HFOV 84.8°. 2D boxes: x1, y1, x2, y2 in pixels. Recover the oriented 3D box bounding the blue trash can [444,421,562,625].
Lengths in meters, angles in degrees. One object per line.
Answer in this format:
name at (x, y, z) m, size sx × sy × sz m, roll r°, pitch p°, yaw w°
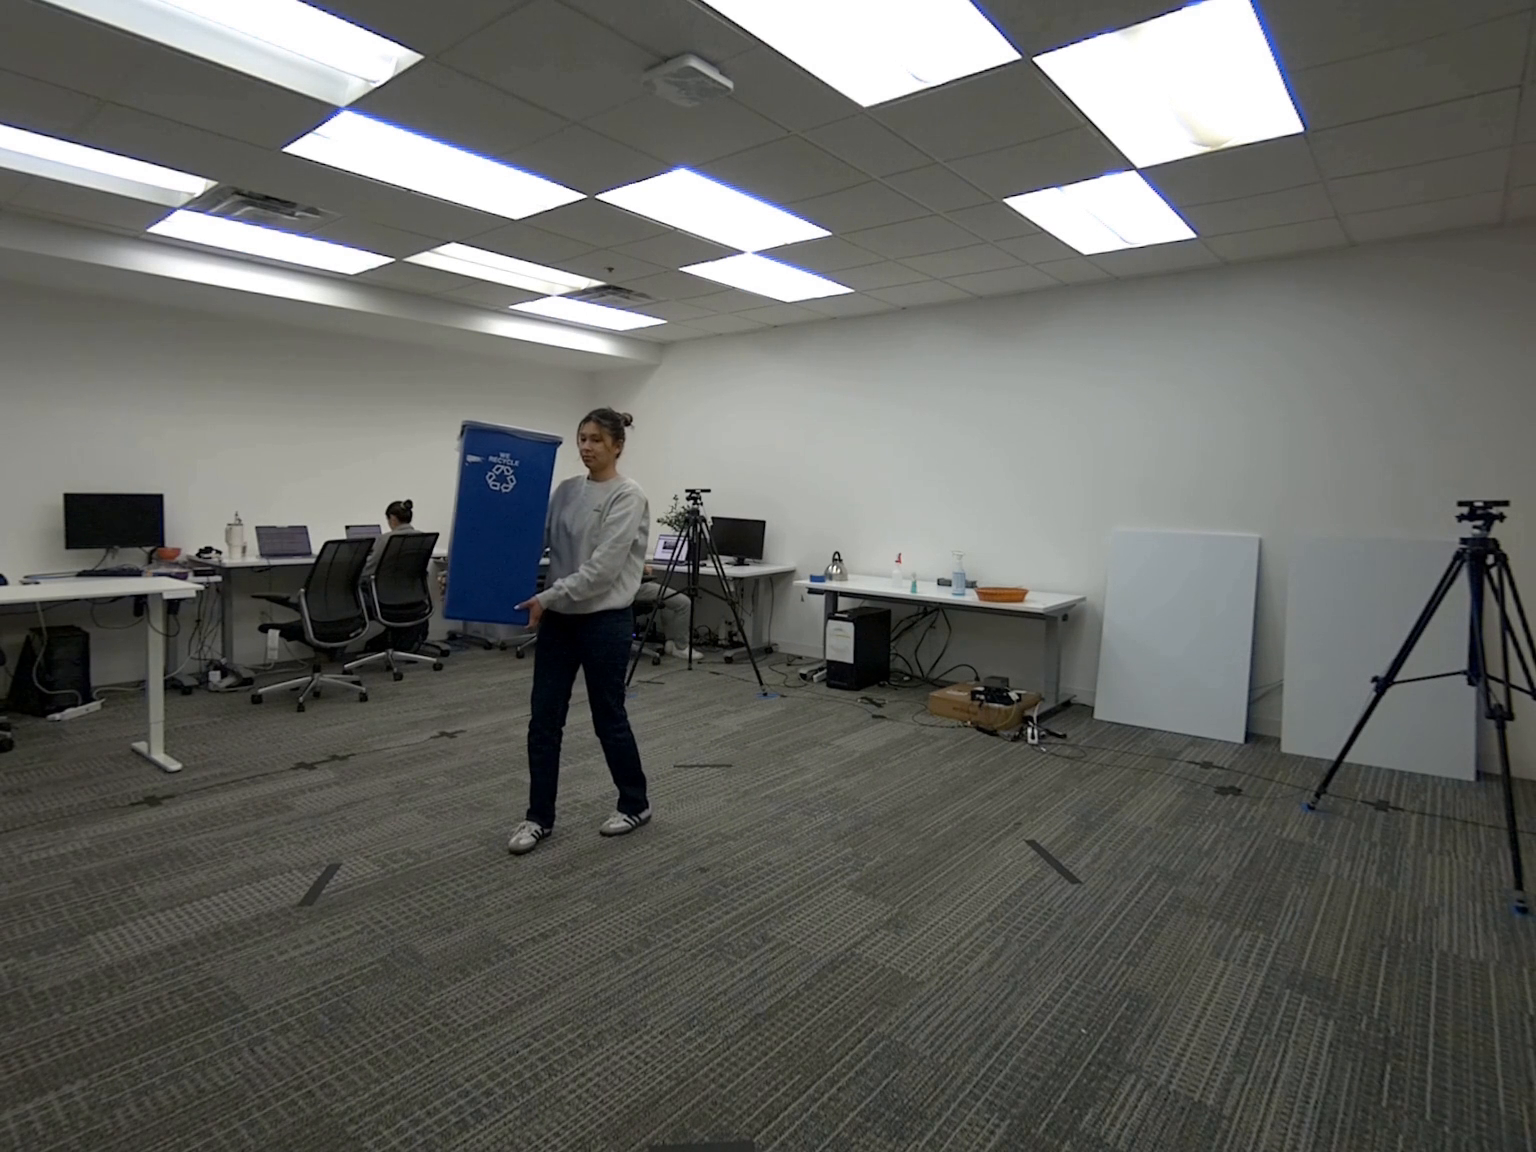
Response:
blue trash can at (-1.037, -0.193, 3.226) m, size 0.366 × 0.716 × 0.385 m, roll 7°, pitch -4°, yaw -20°
